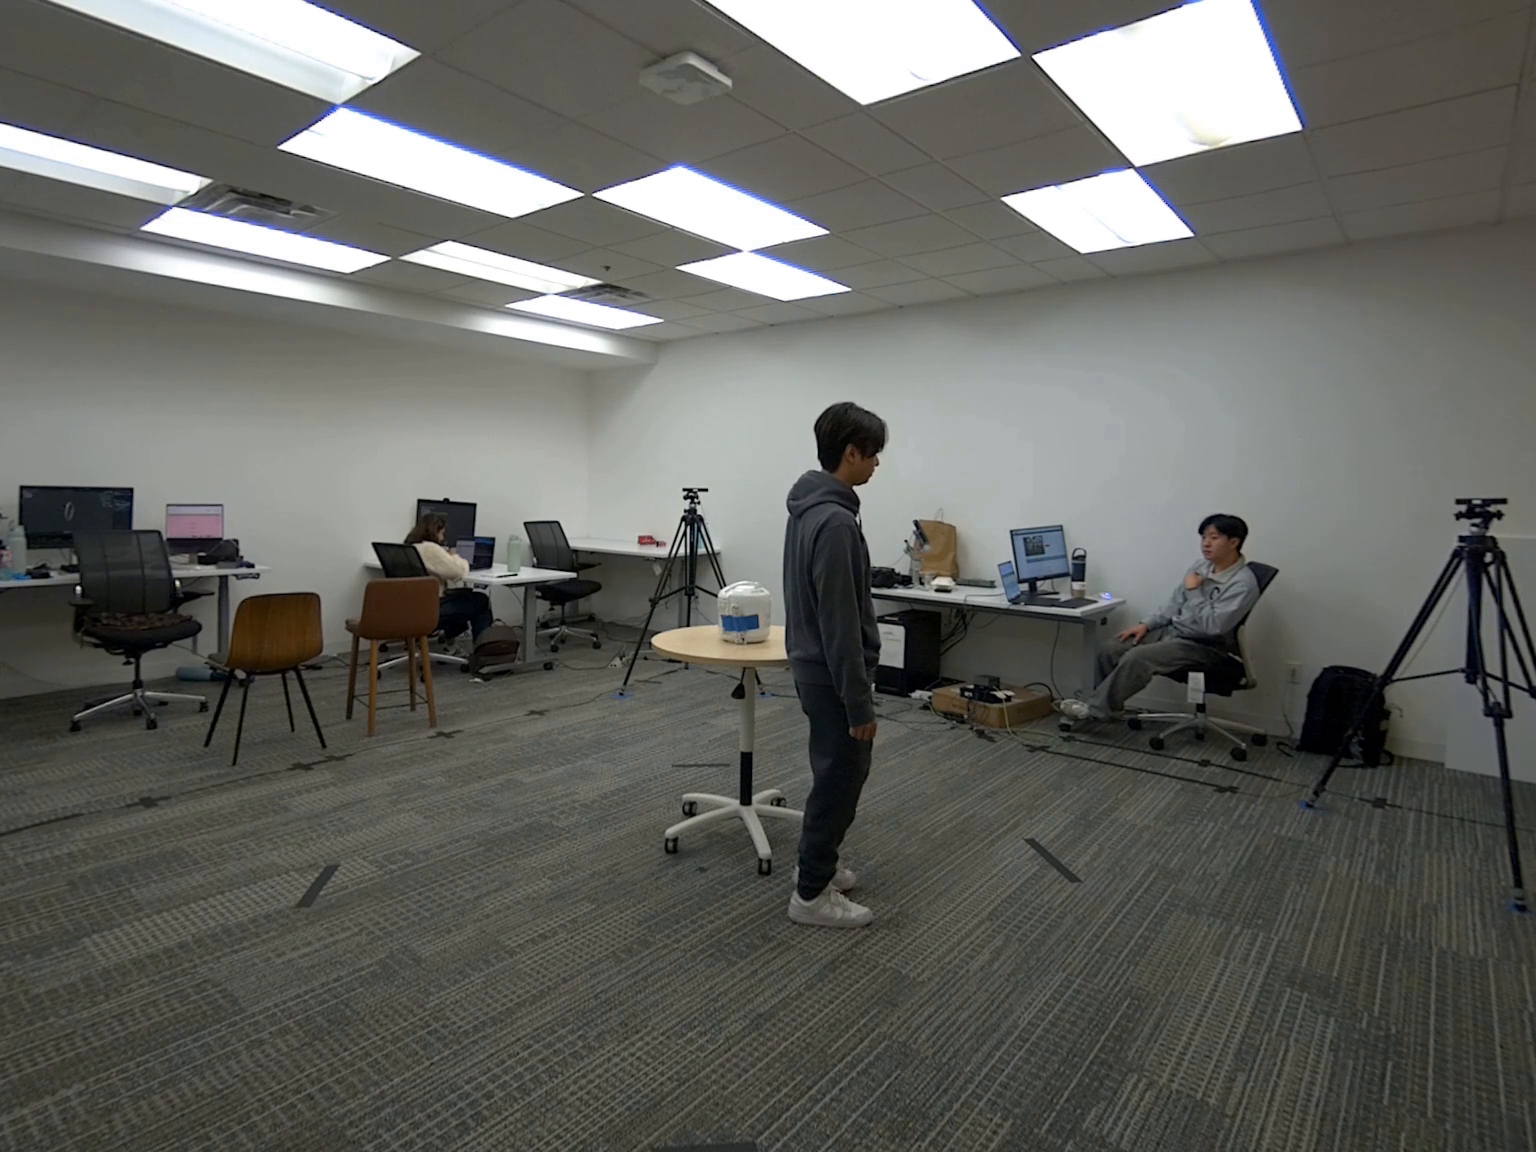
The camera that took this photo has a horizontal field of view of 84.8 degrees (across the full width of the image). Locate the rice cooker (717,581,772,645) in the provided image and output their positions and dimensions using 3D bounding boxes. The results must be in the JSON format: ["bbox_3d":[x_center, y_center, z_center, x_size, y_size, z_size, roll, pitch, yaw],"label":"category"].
[{"bbox_3d":[-0.105,0.134,3.360,0.214,0.232,0.224,-1,6,-34],"label":"rice cooker"}]
